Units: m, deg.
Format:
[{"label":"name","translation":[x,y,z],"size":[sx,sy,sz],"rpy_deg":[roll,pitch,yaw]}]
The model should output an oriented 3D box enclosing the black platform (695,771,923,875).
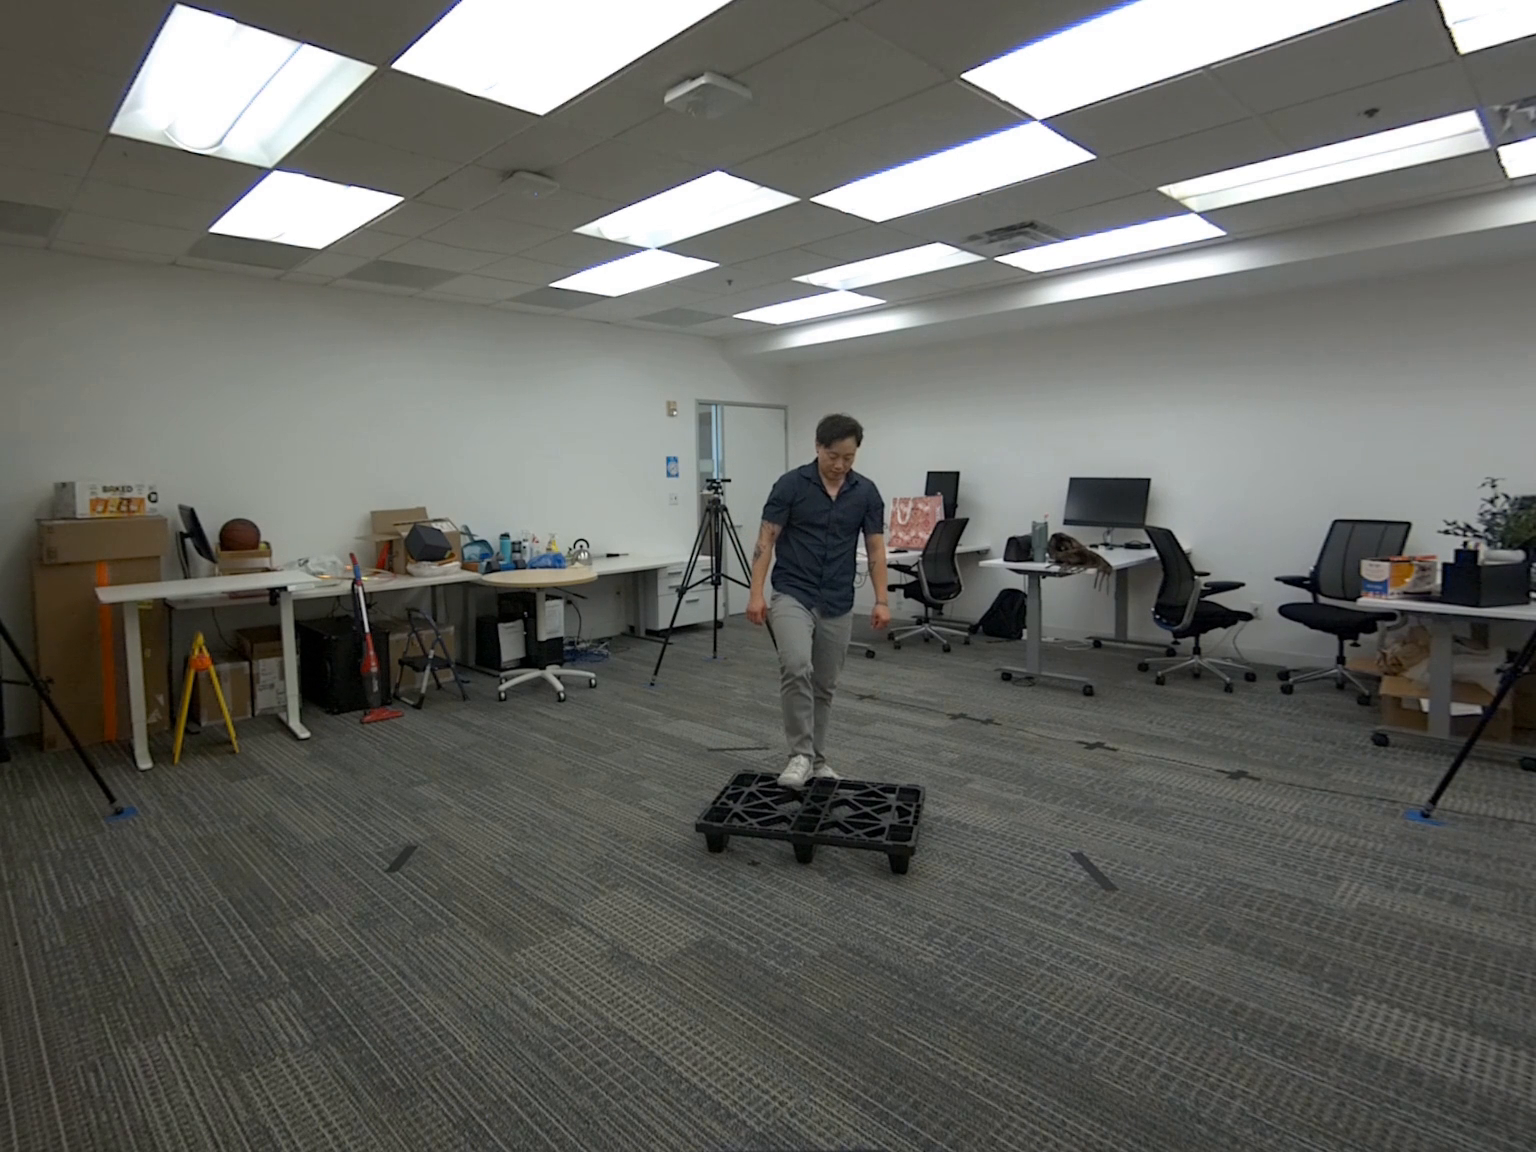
[{"label":"black platform","translation":[0.182,0.948,3.323],"size":[0.818,0.143,0.598],"rpy_deg":[1,6,16]}]
